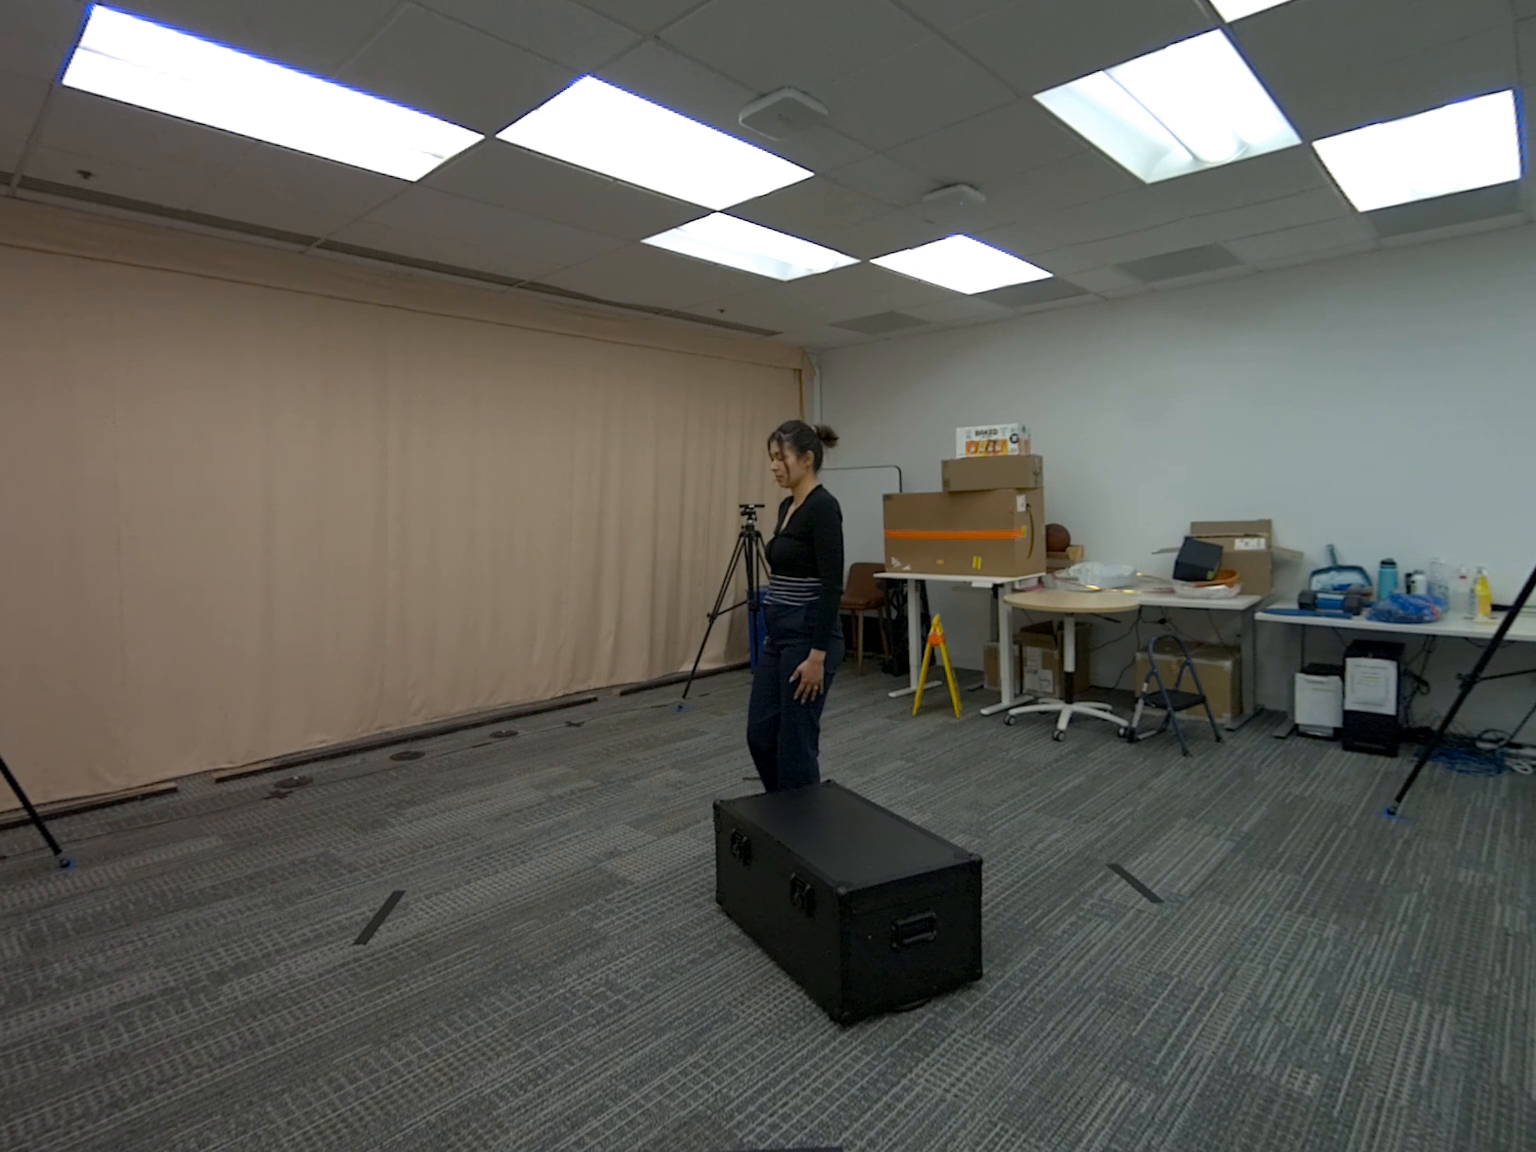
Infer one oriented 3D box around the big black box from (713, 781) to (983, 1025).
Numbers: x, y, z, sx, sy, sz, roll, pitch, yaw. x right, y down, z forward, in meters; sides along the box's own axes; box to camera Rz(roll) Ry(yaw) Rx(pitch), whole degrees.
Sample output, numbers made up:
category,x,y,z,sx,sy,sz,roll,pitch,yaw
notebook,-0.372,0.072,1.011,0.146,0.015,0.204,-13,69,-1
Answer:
category,x,y,z,sx,sy,sz,roll,pitch,yaw
big black box,0.233,0.976,2.628,0.508,0.395,0.885,-4,5,-27
